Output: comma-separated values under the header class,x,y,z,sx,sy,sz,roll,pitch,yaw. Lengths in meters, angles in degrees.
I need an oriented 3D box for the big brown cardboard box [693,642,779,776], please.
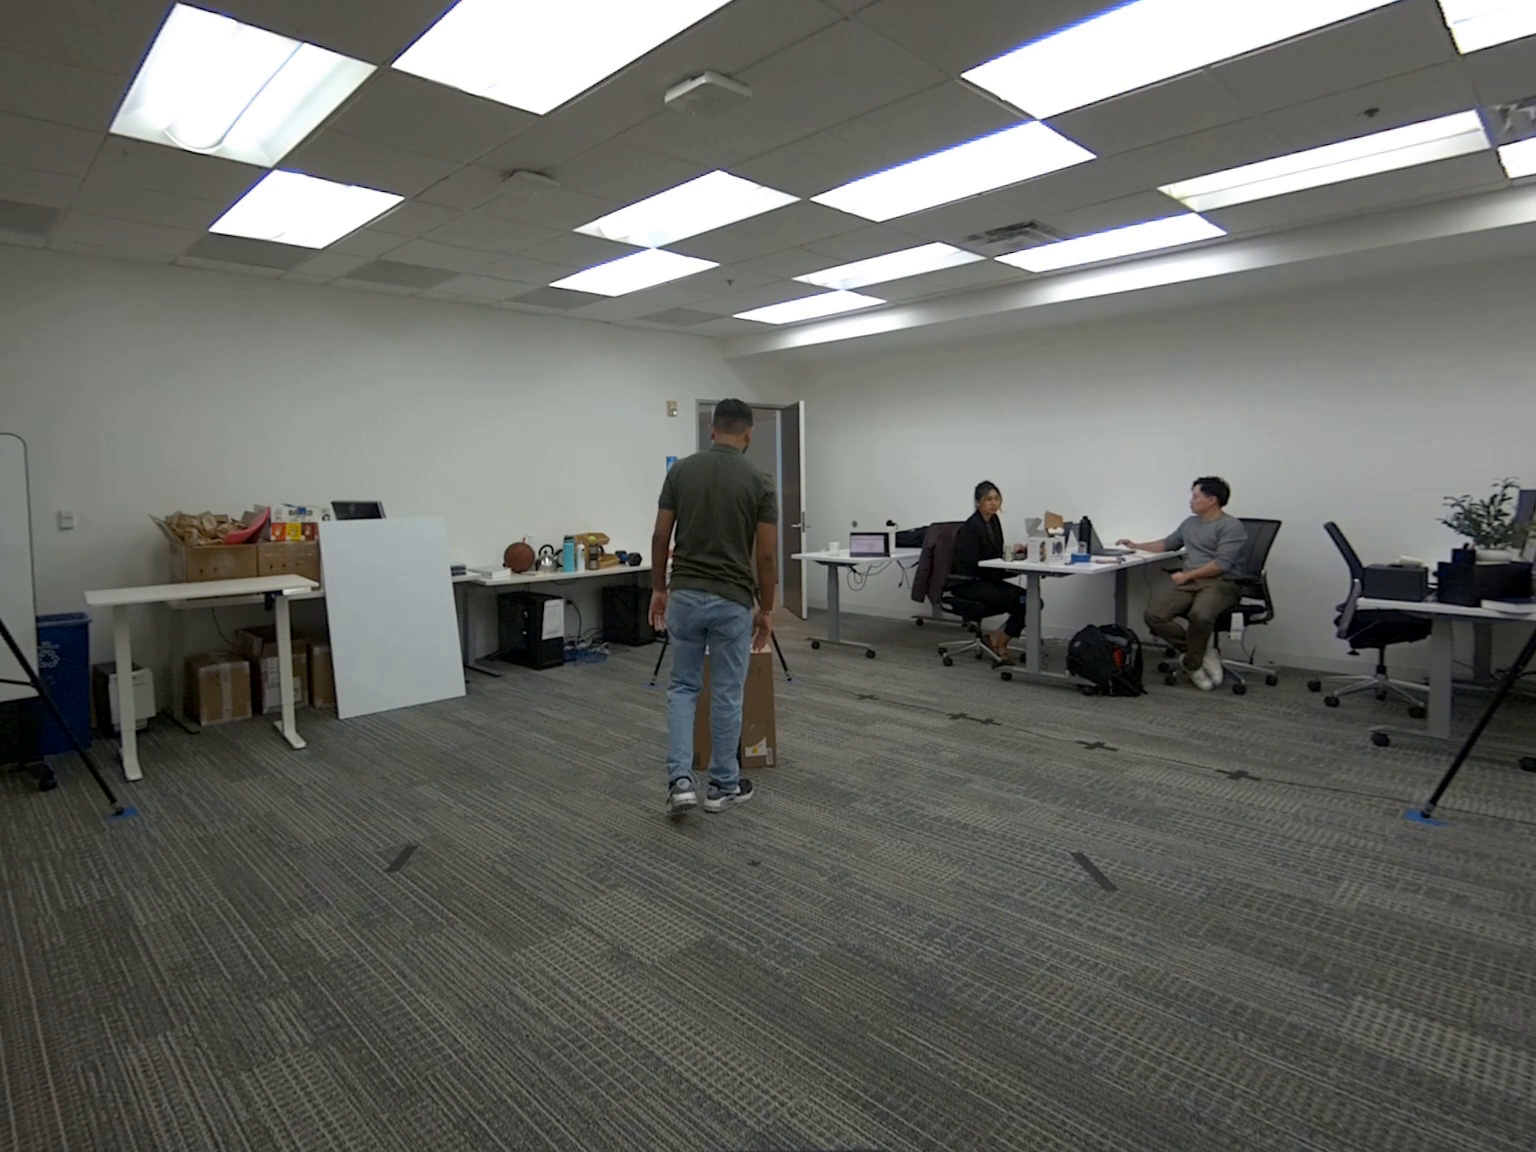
class,x,y,z,sx,sy,sz,roll,pitch,yaw
big brown cardboard box,-0.183,0.645,4.229,0.416,0.587,0.234,-2,3,-4
